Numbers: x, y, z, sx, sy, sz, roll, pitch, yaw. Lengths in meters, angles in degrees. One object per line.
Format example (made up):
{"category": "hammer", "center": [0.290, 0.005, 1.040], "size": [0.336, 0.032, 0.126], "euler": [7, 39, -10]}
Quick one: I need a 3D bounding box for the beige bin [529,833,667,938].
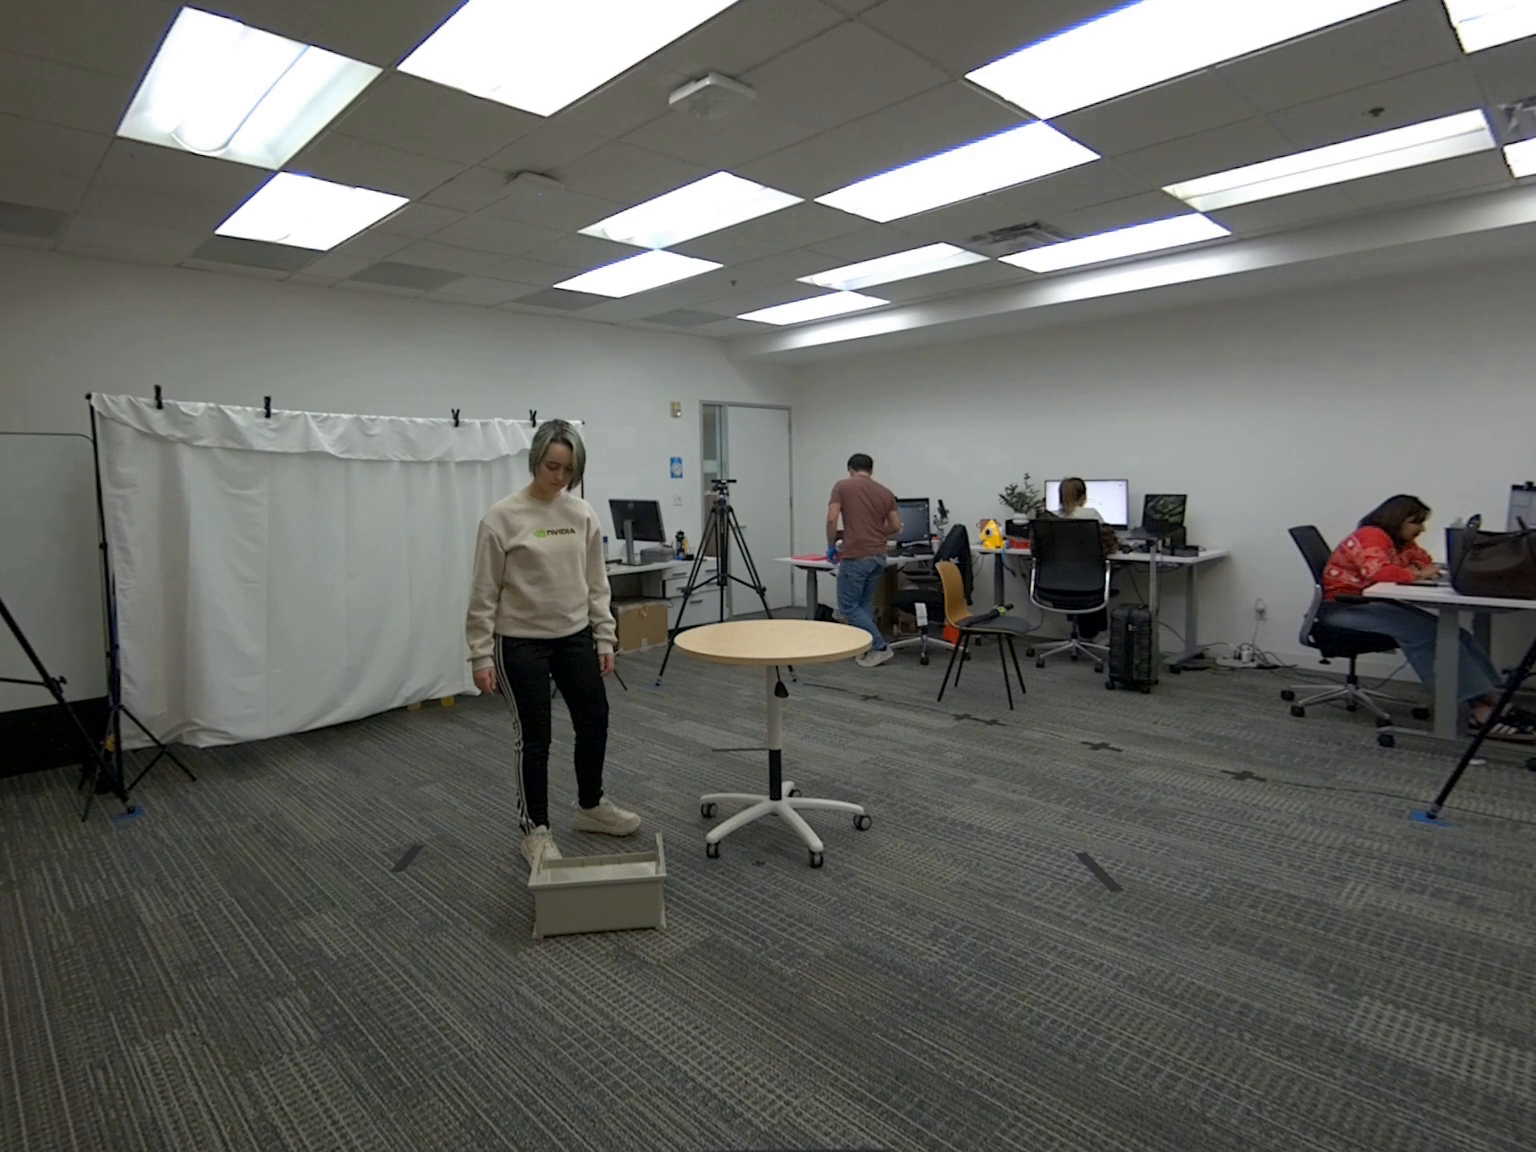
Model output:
{"category": "beige bin", "center": [-0.553, 1.005, 2.812], "size": [0.419, 0.188, 0.382], "euler": [-2, 6, -8]}
